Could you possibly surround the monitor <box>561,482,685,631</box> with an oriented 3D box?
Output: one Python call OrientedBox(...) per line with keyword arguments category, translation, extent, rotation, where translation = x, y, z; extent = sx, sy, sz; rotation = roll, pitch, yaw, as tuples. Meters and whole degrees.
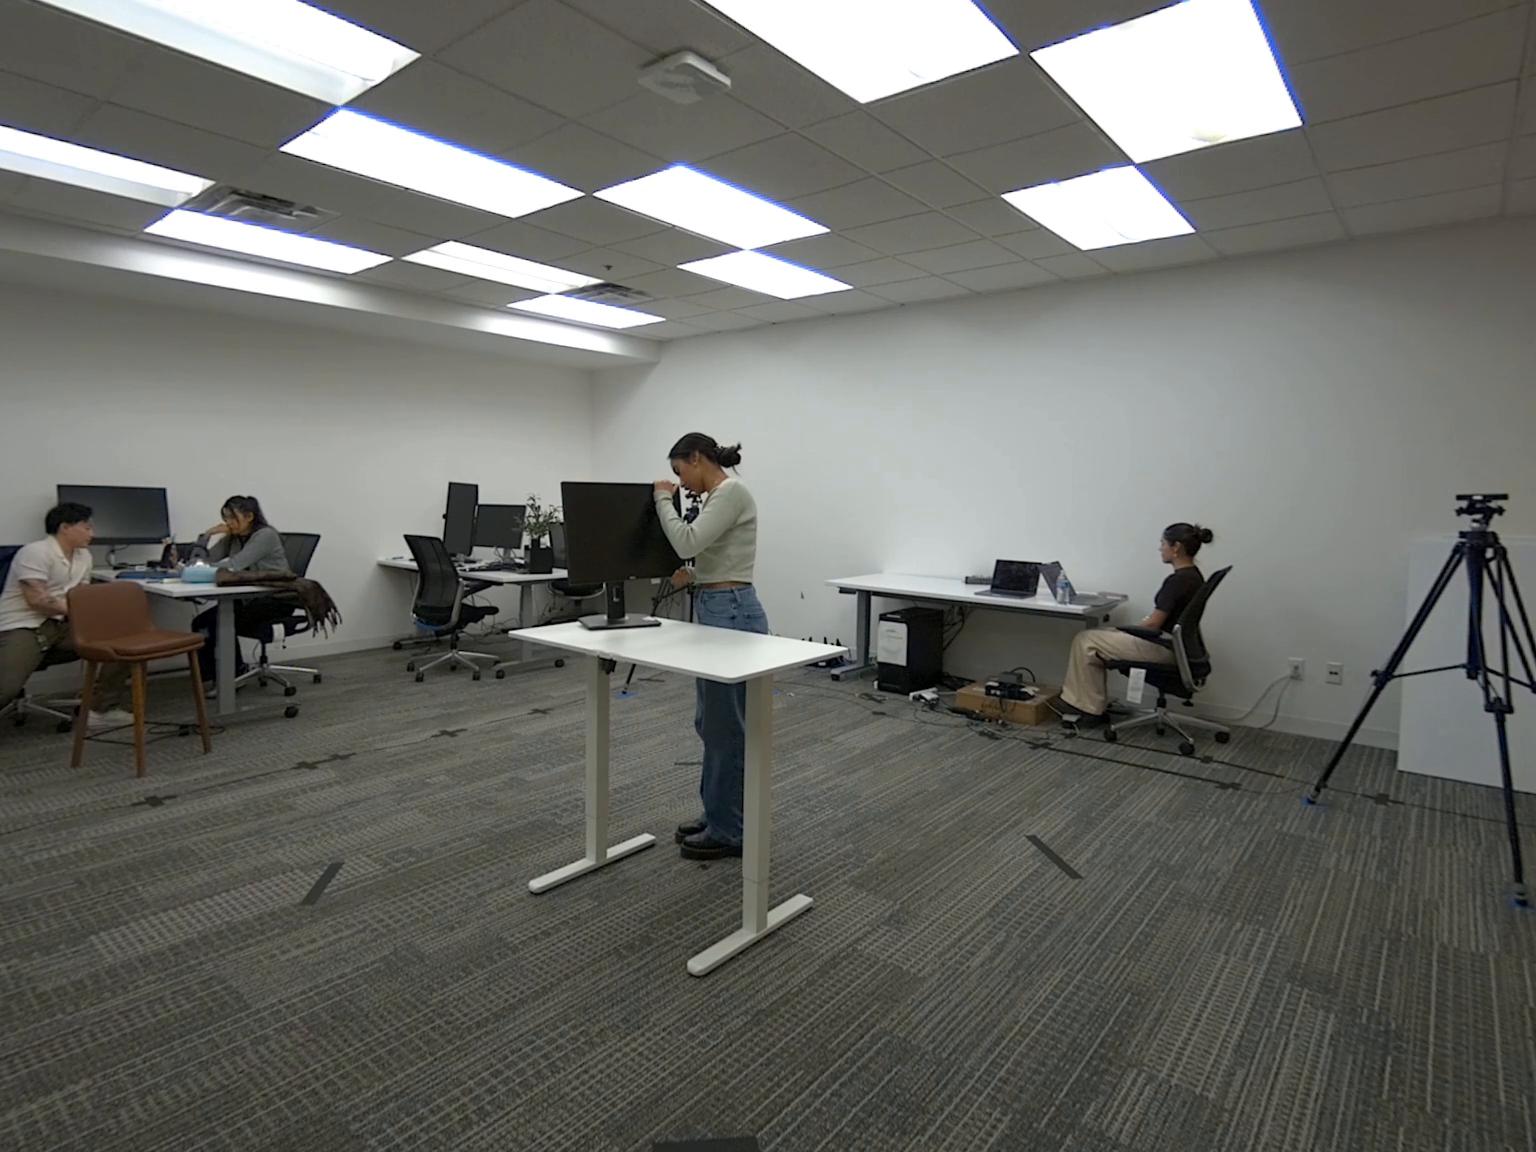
OrientedBox(category="monitor", translation=(-0.549, -0.079, 3.097), extent=(0.194, 0.519, 0.523), rotation=(9, 9, 42))
